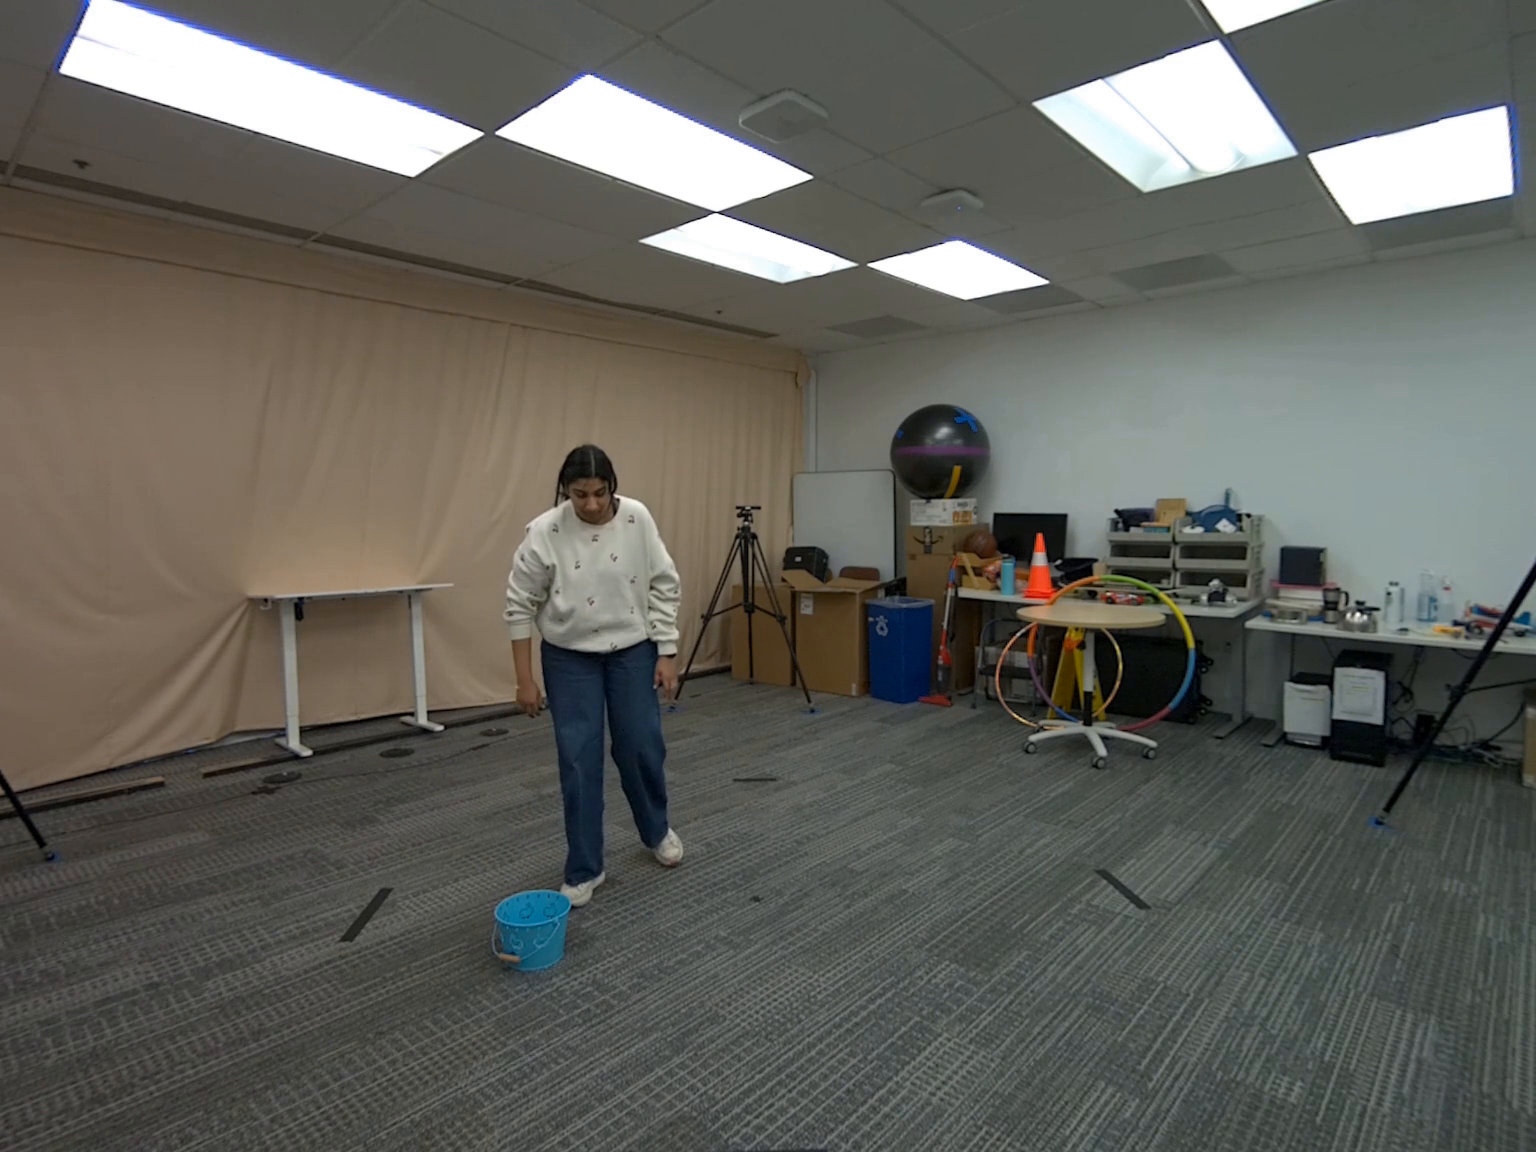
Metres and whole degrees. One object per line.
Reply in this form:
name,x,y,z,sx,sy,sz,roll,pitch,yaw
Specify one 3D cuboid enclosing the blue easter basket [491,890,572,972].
blue easter basket,-0.732,1.095,2.612,0.243,0.155,0.244,0,4,-2
